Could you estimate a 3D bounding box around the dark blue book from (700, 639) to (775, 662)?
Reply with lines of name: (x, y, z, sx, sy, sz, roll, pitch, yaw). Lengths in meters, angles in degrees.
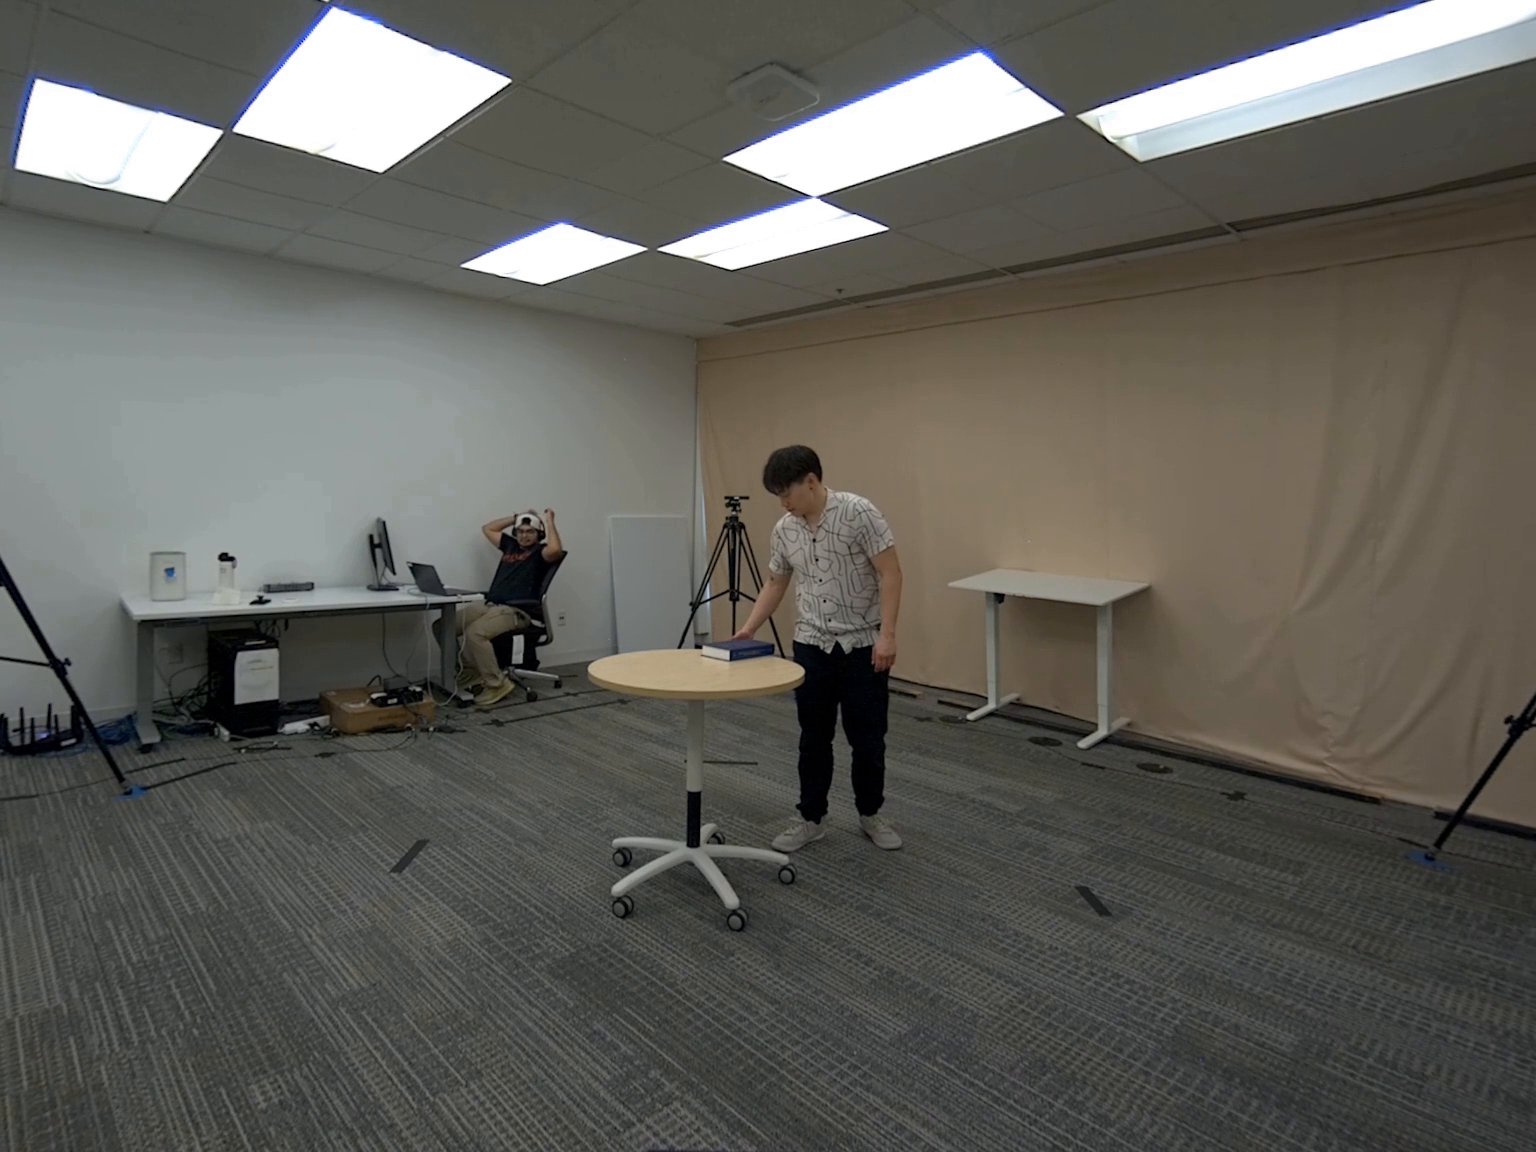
dark blue book: (-0.130, 0.285, 3.252, 0.168, 0.045, 0.239, 7, 8, 43)
